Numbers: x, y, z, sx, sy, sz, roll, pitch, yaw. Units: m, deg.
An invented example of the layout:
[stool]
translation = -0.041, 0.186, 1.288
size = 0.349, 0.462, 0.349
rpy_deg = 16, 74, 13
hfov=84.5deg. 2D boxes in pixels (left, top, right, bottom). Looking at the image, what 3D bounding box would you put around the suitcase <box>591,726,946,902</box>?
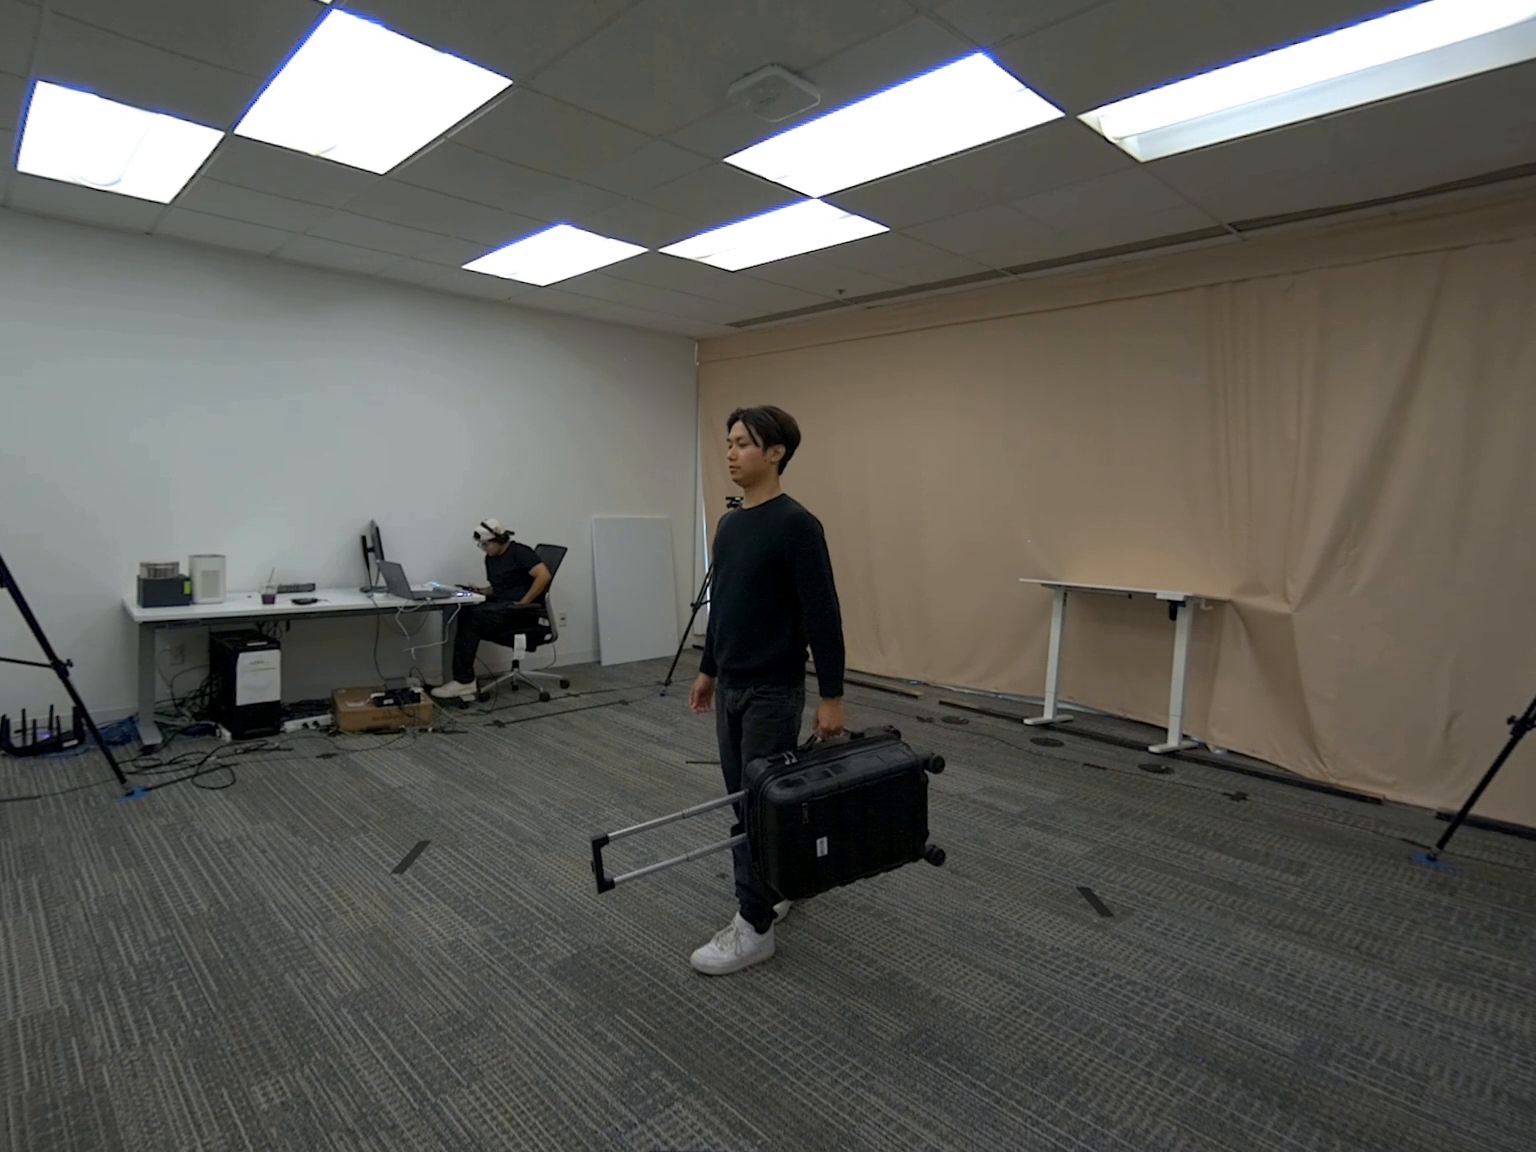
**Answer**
[suitcase]
translation = 0.022, 0.704, 2.338
size = 0.964, 0.380, 0.263
rpy_deg = -9, 14, -24
